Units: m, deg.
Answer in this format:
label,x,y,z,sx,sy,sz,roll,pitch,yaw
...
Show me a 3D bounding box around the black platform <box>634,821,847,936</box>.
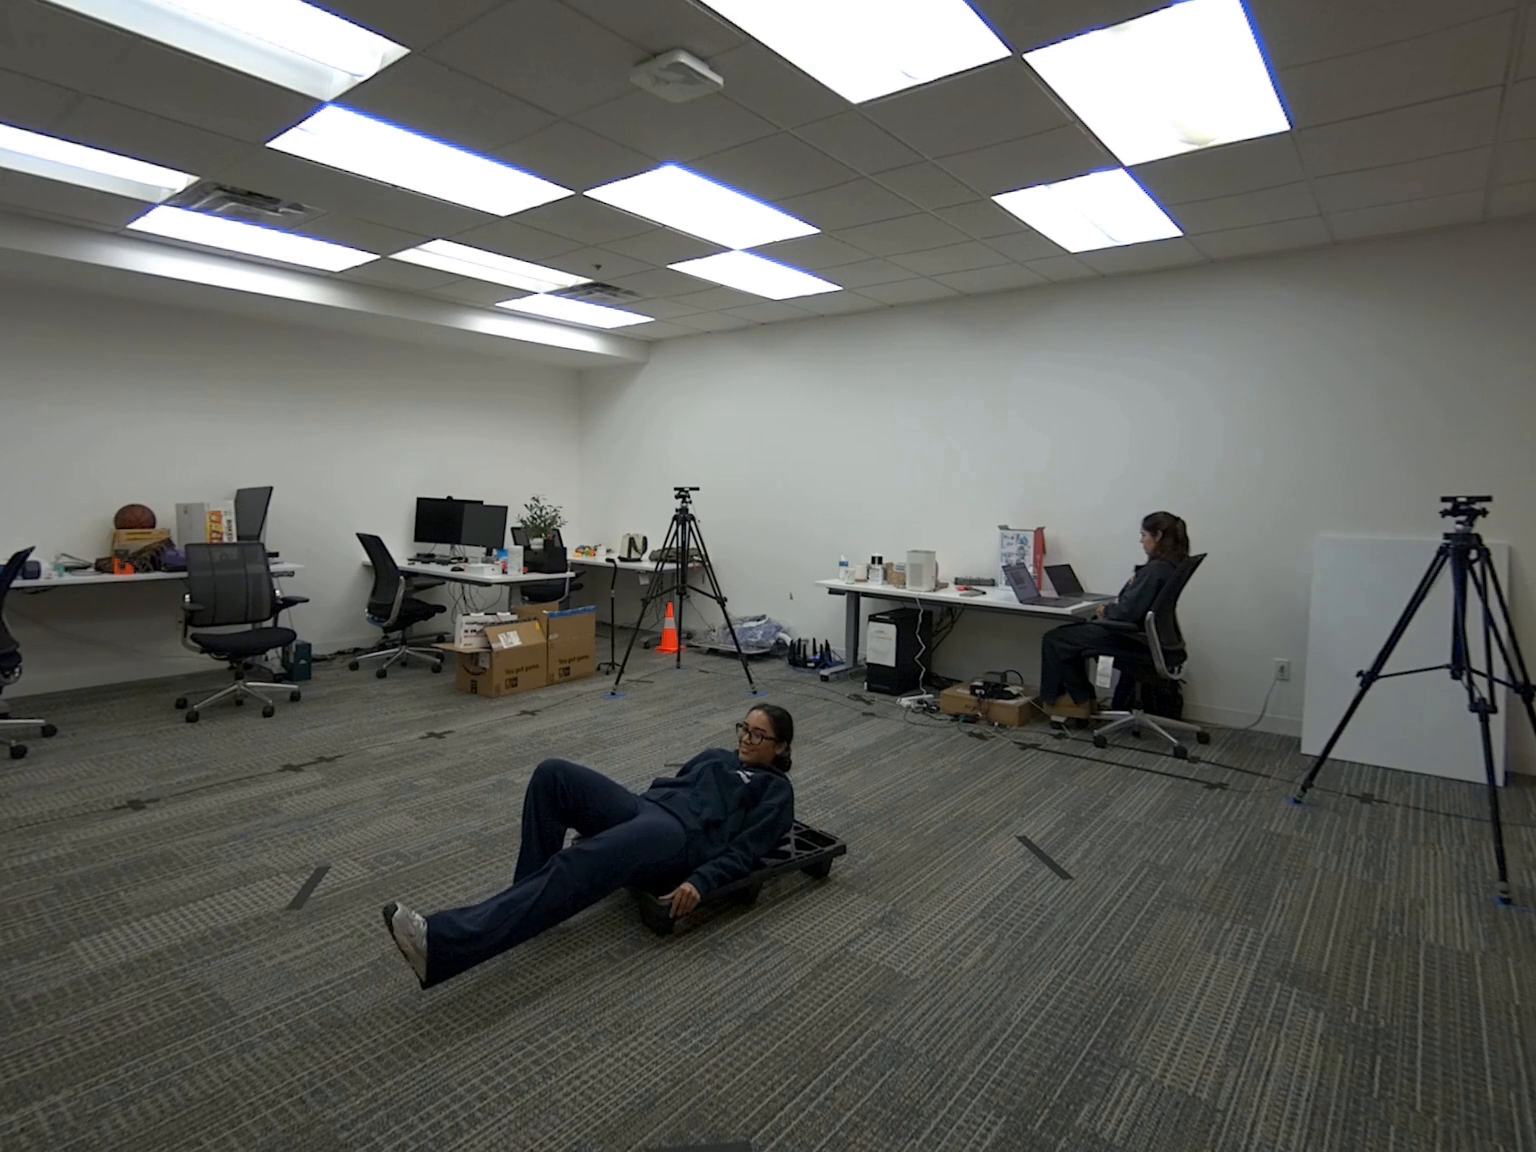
label,x,y,z,sx,sy,sz,roll,pitch,yaw
black platform,-0.209,1.010,3.023,0.782,0.143,0.626,-4,8,-38
